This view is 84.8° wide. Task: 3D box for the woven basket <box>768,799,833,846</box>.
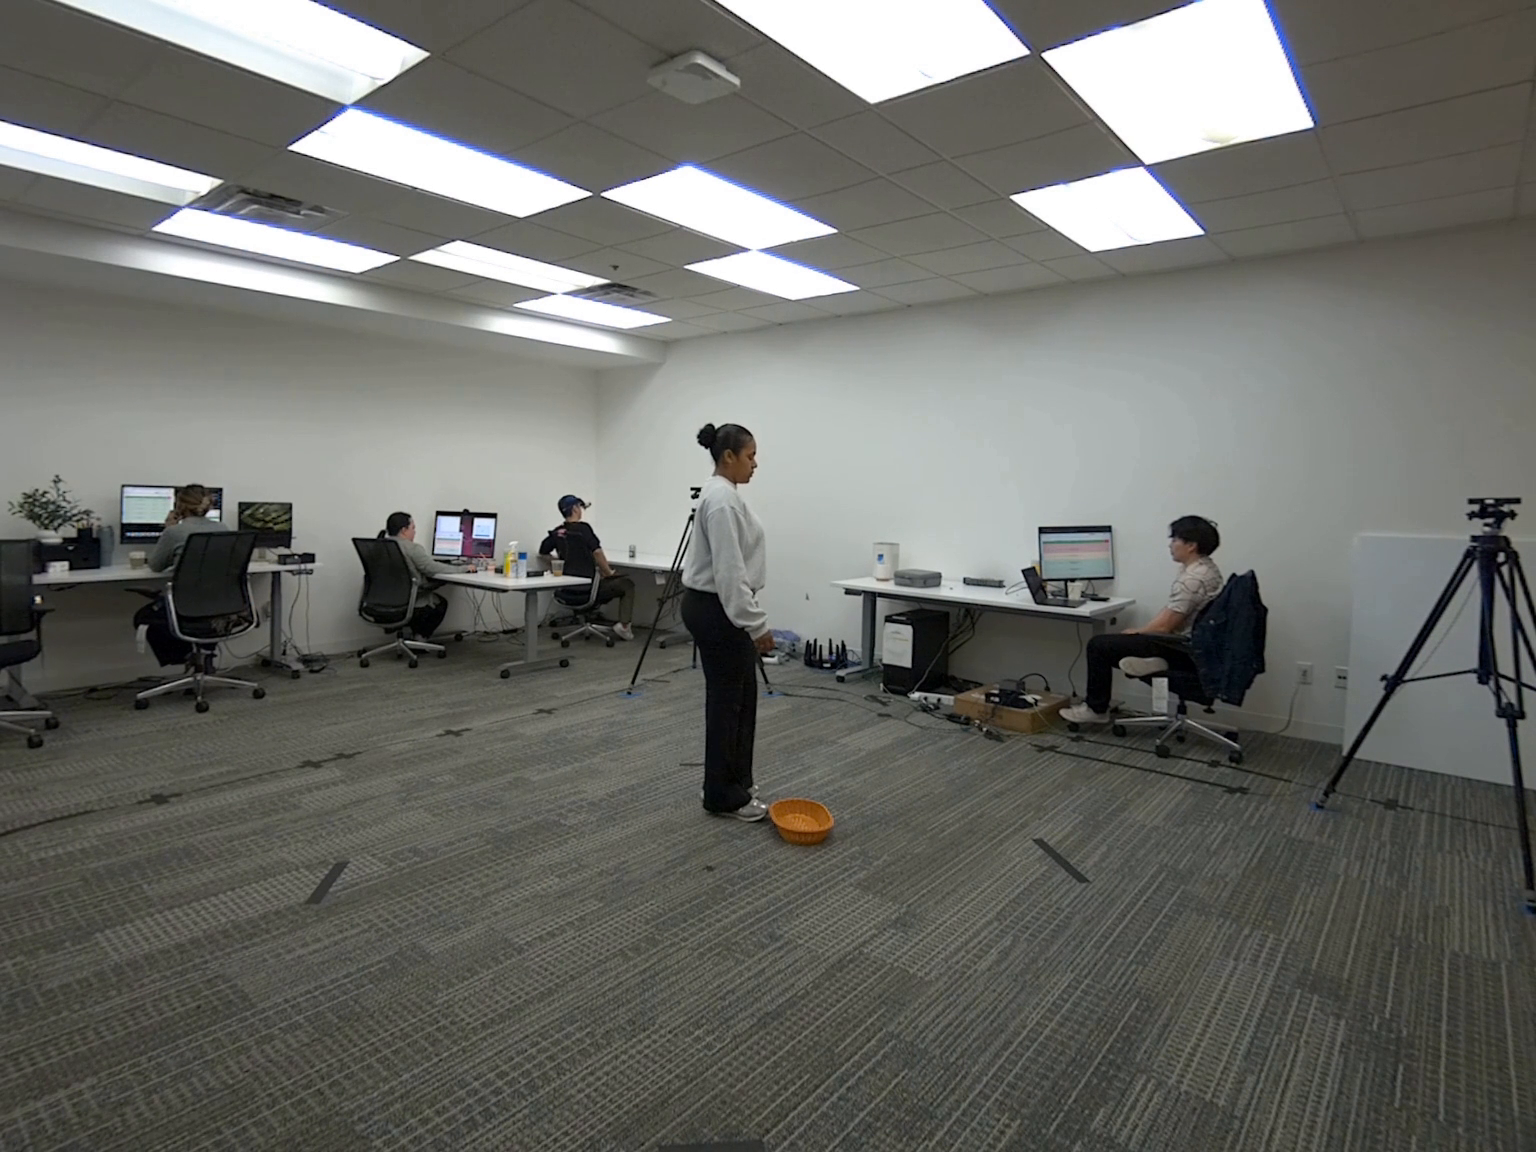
[{"bbox_3d":[0.125,0.996,3.471,0.251,0.073,0.354,0,6,-6],"label":"woven basket"}]
